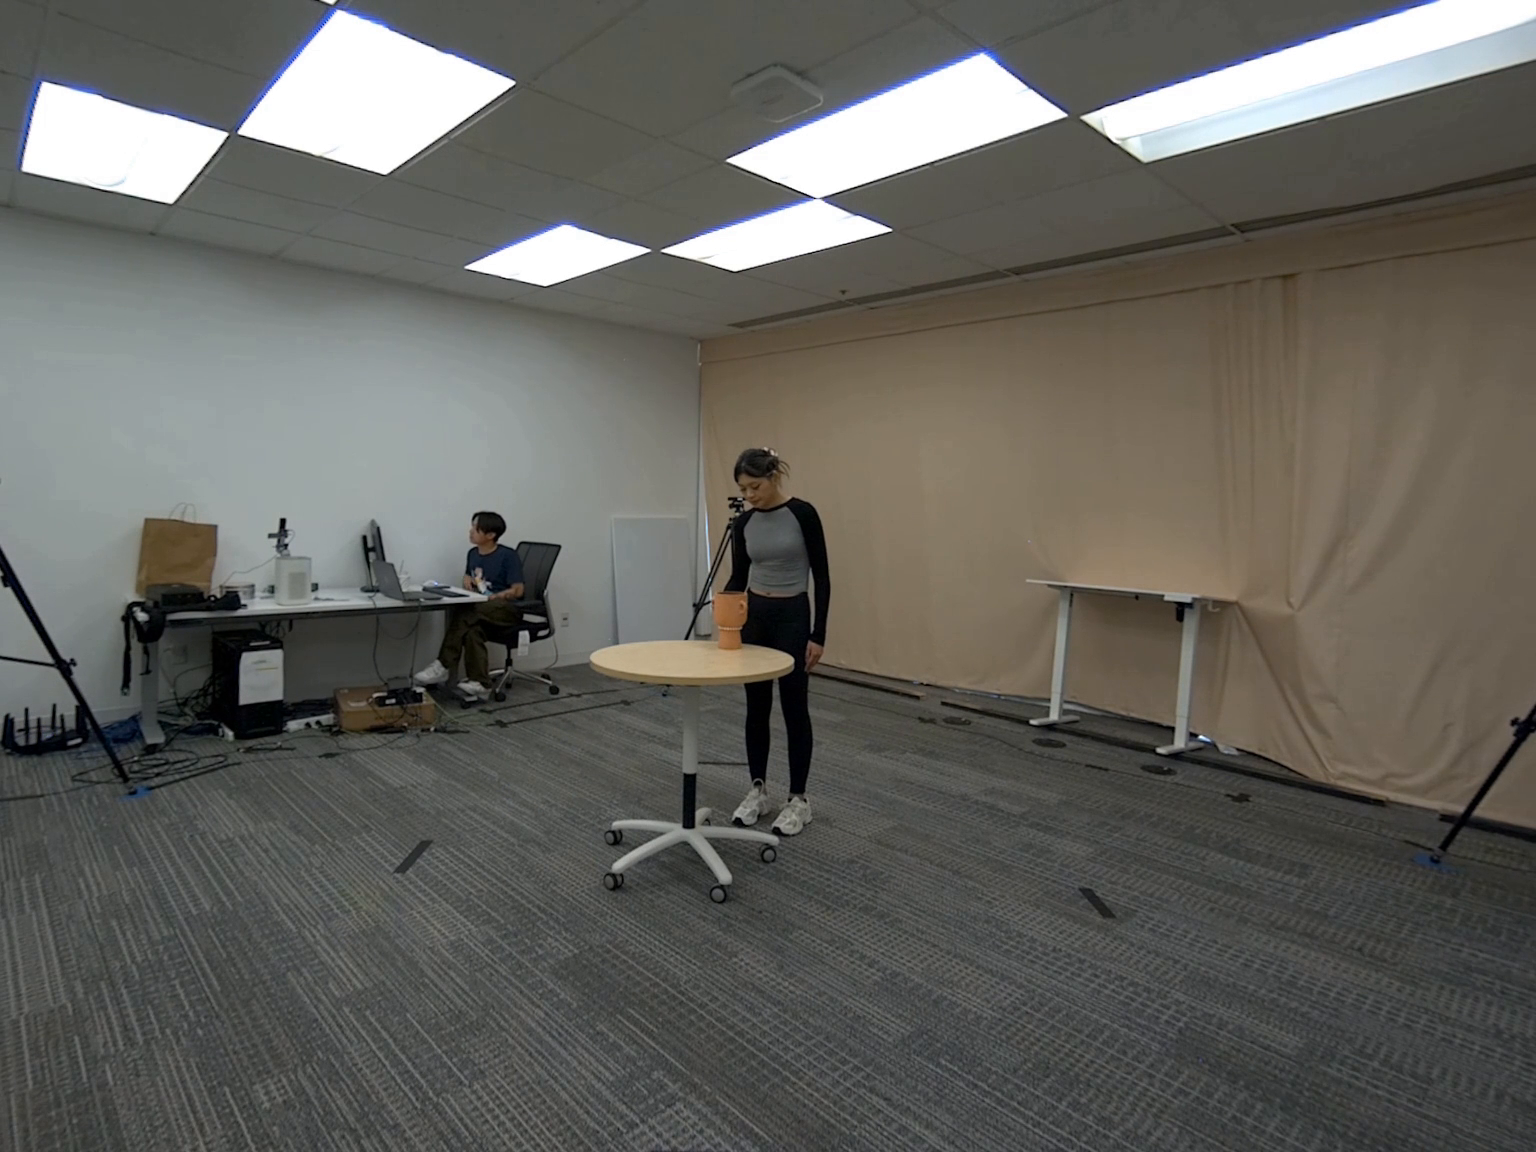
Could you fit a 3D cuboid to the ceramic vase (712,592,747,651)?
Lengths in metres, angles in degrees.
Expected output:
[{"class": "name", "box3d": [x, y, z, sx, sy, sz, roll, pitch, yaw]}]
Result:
[{"class": "ceramic vase", "box3d": [-0.164, 0.182, 3.396, 0.134, 0.219, 0.159, 1, 3, -1]}]
